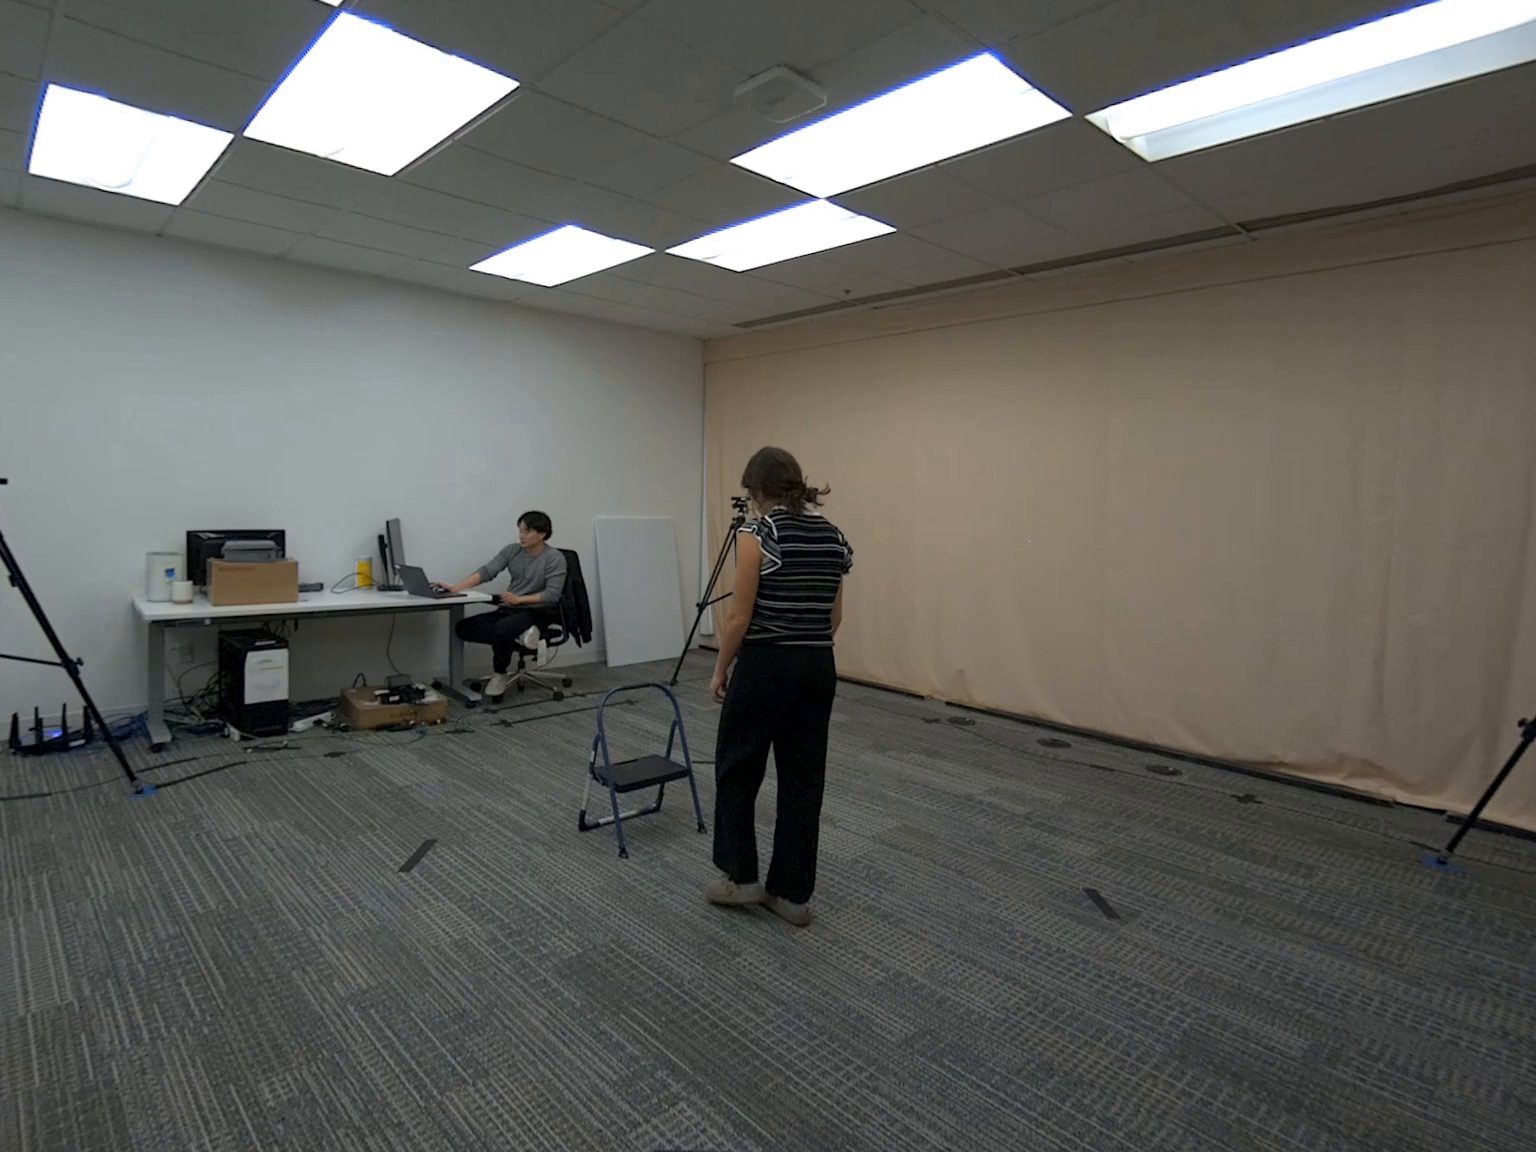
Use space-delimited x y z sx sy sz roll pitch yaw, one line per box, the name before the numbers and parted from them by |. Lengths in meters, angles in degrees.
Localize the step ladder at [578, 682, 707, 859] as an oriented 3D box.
step ladder | -0.521 0.762 3.482 0.421 0.605 0.358 -2 5 -43
